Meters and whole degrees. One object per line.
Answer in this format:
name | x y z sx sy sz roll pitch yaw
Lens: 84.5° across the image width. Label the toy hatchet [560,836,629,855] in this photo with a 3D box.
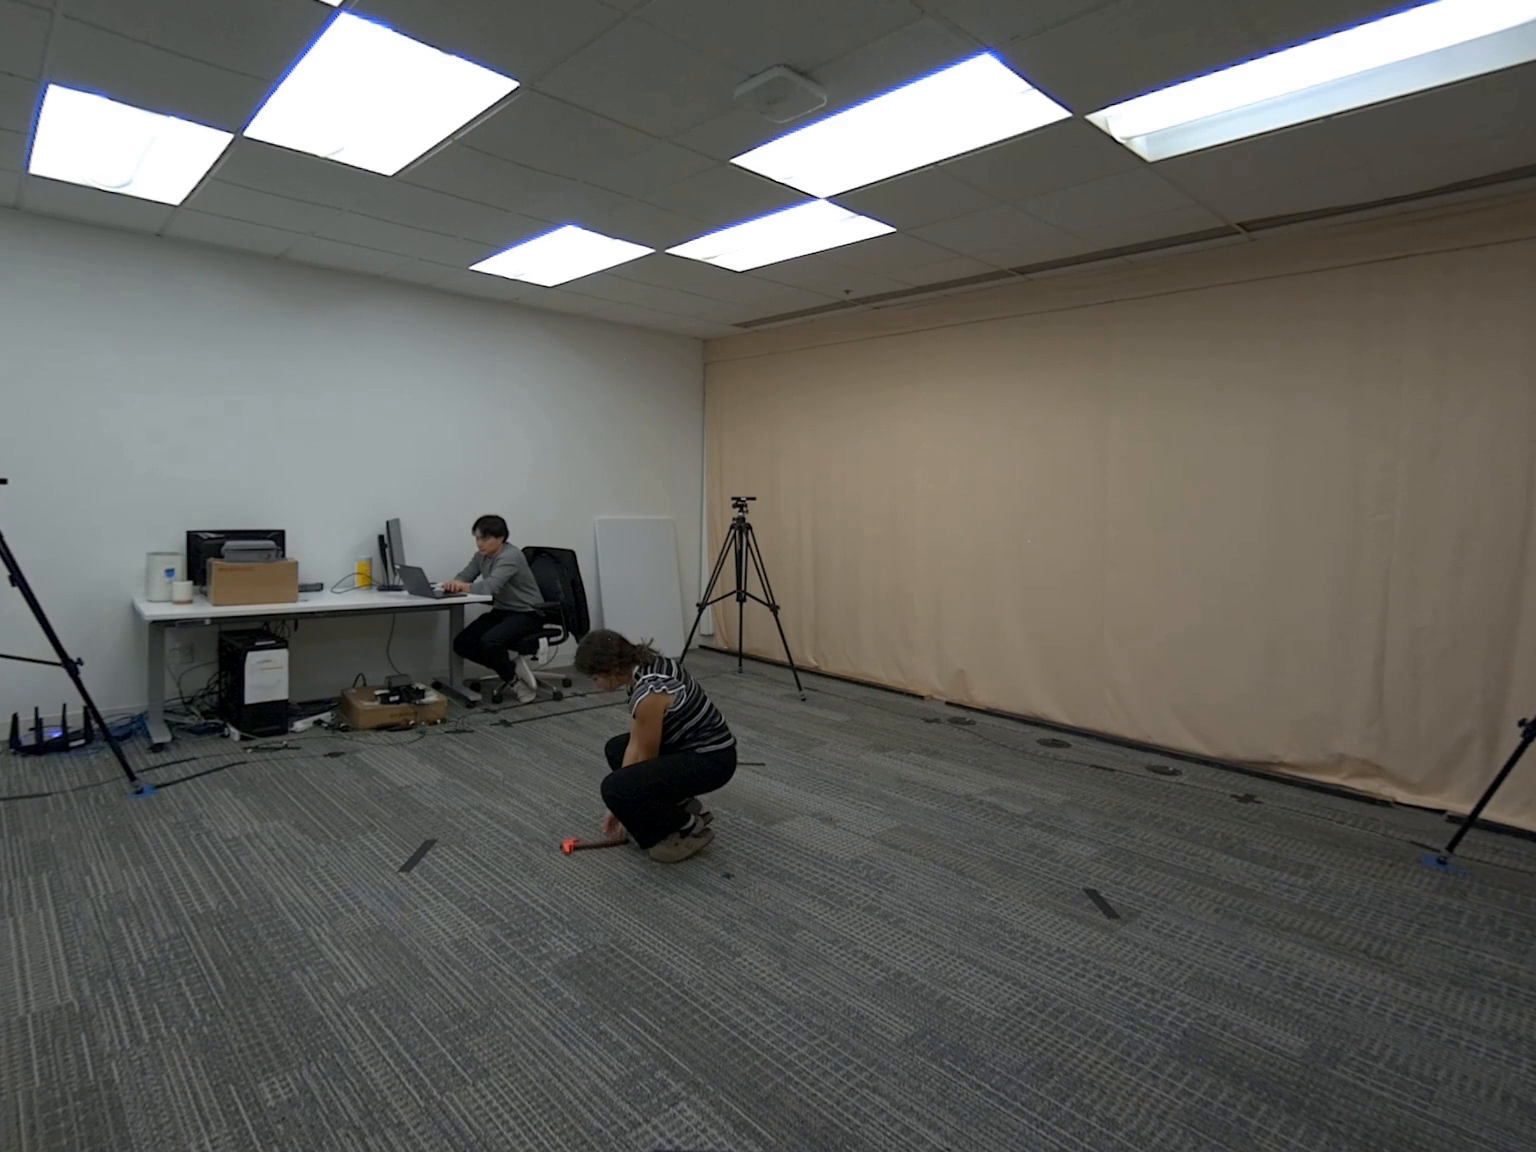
toy hatchet | -0.703 1.051 3.355 0.264 0.029 0.134 1 3 -33
